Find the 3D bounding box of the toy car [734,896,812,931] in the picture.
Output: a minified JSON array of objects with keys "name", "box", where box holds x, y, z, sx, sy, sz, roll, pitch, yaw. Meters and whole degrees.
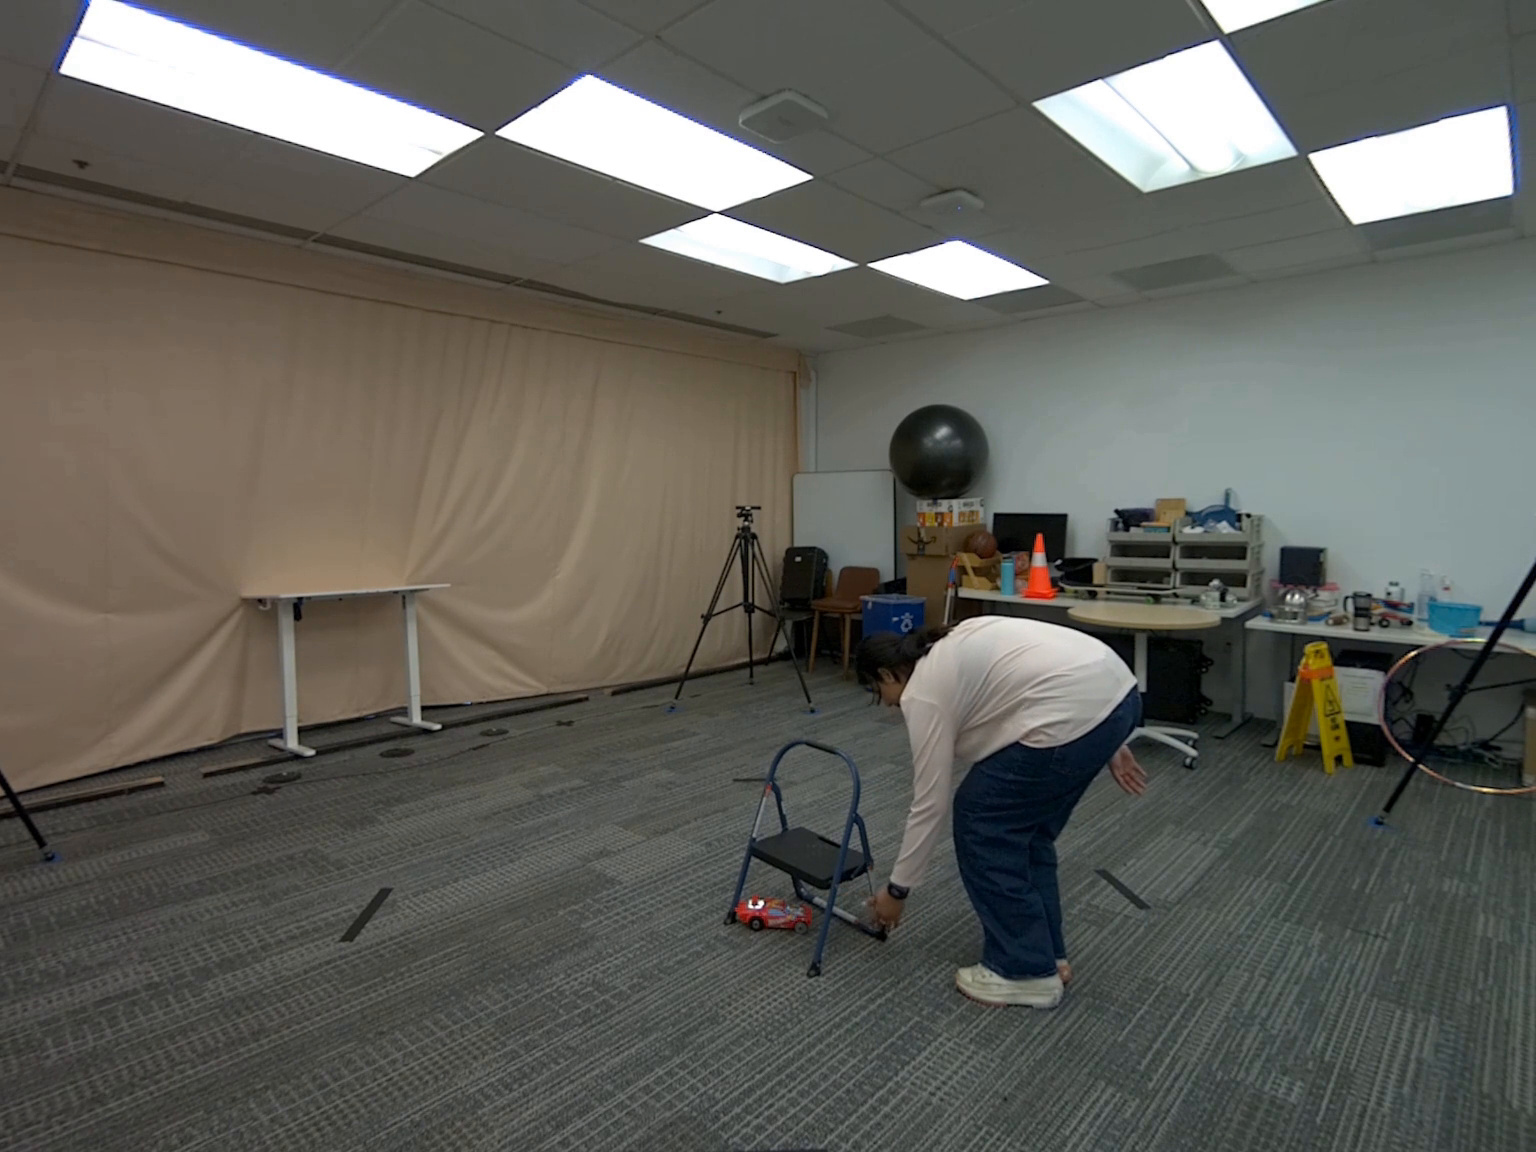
[{"name":"toy car","box":[0.021,1.129,2.799,0.257,0.083,0.129,12,5,7]}]
